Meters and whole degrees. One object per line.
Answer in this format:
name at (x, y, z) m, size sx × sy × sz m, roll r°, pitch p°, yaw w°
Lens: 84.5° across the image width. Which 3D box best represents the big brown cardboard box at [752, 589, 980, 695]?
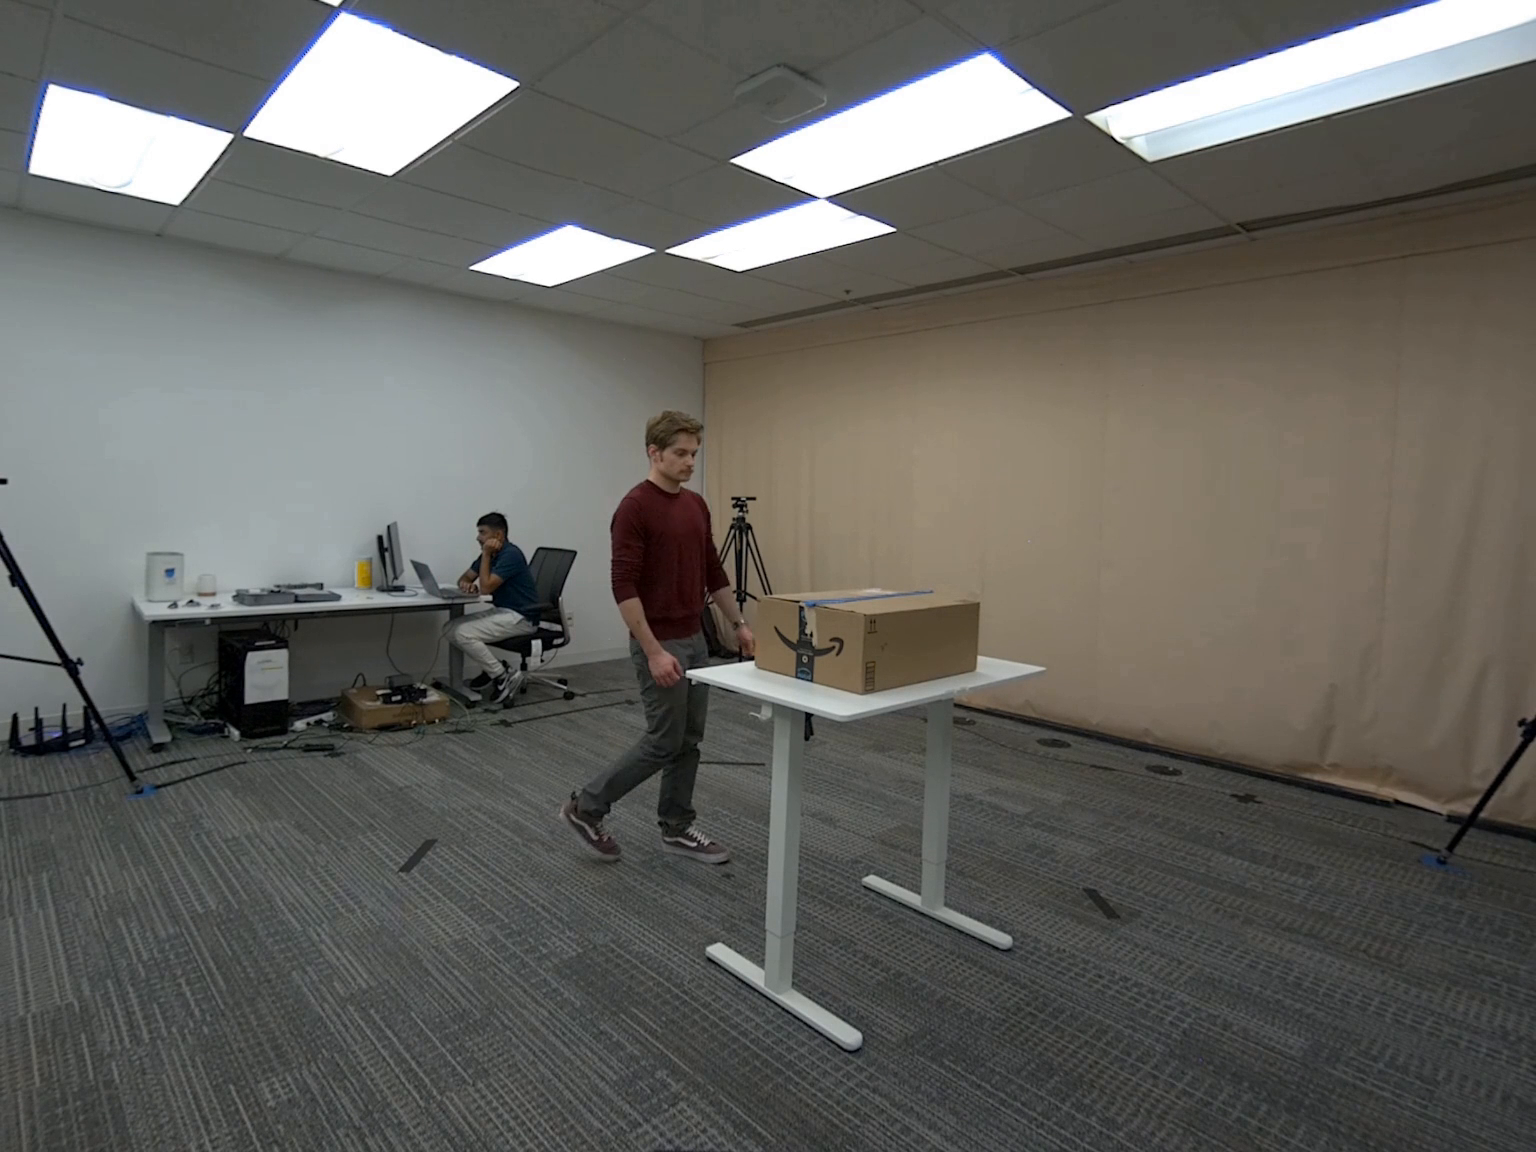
big brown cardboard box at (0.303, 0.176, 2.553) m, size 0.576 × 0.232 × 0.428 m, roll -4°, pitch 8°, yaw -44°
